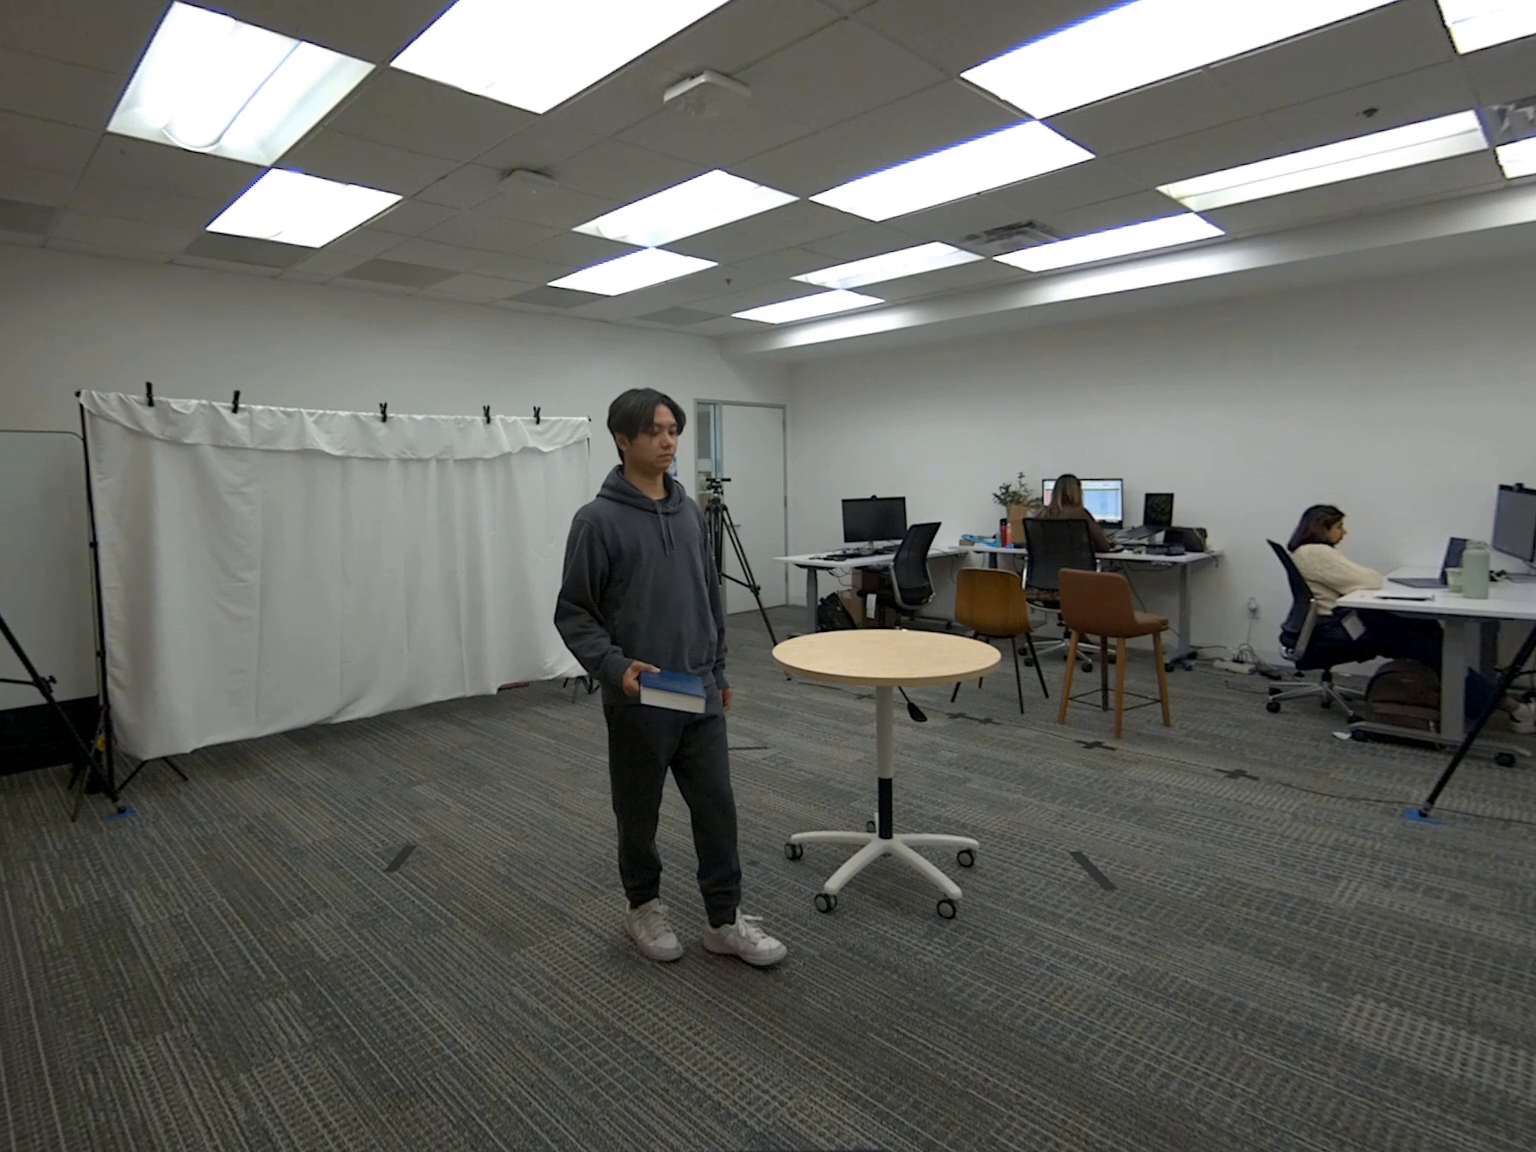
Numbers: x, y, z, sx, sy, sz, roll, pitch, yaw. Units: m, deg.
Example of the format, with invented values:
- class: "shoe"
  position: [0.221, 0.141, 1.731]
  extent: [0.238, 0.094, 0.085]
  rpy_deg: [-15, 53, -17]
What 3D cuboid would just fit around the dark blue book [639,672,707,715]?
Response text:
- class: "dark blue book"
  position: [-0.246, 0.290, 2.164]
  extent: [0.163, 0.045, 0.246]
  rpy_deg: [8, 4, -4]
